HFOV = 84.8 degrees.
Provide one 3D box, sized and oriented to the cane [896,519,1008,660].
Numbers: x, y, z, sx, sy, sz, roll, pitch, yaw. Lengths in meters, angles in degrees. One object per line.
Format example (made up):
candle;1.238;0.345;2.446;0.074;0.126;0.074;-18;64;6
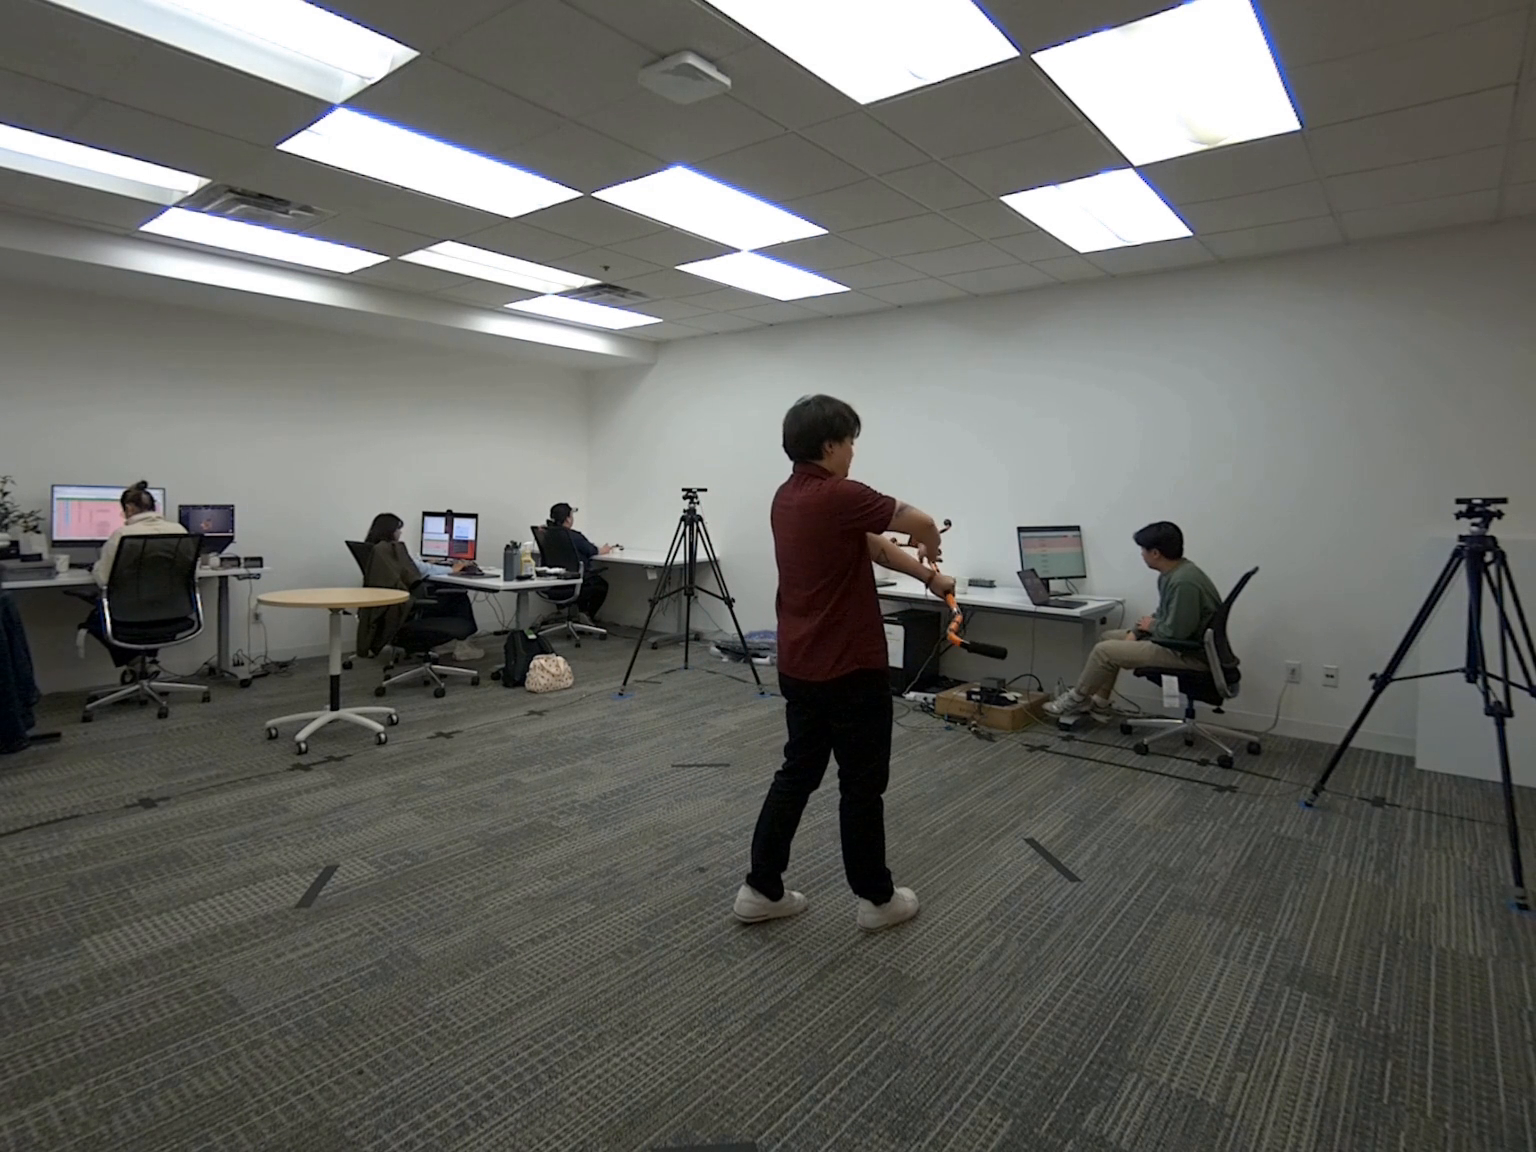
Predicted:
cane;0.586;0.016;2.860;0.205;0.149;0.926;11;24;-6
